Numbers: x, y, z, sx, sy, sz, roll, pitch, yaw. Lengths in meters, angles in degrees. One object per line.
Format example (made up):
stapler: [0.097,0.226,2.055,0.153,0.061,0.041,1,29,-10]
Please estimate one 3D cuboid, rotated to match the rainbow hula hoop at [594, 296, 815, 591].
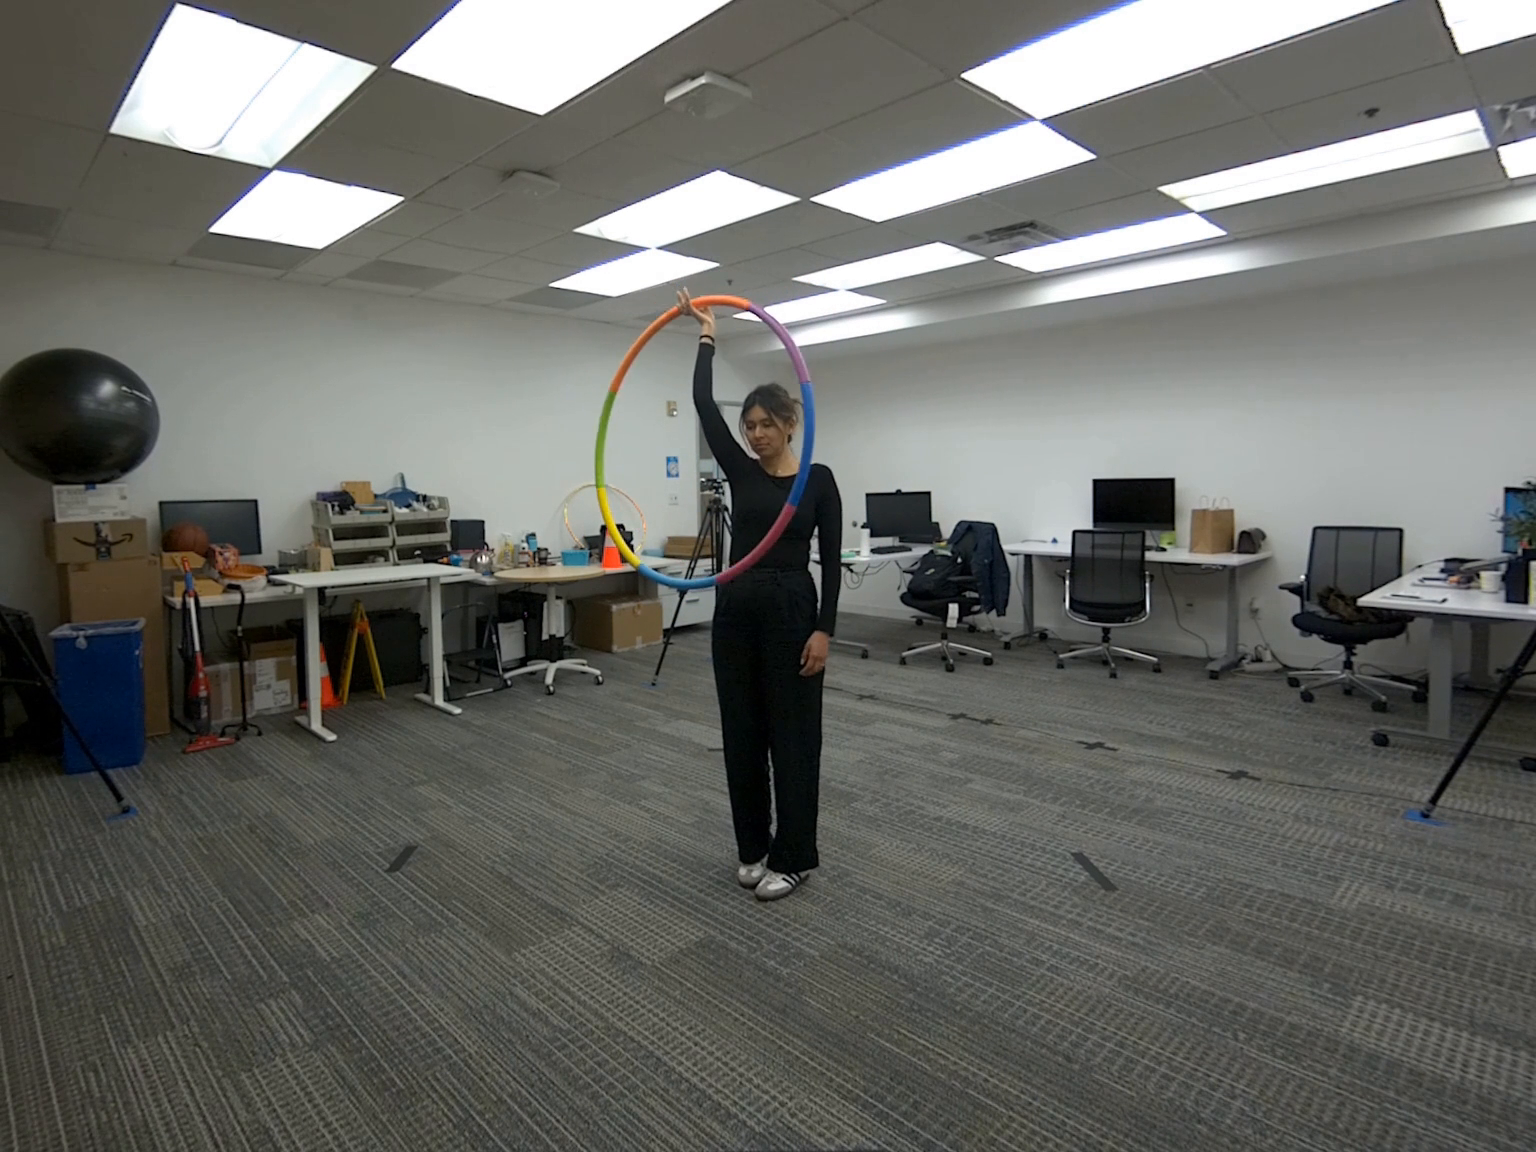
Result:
rainbow hula hoop: [-0.243,-0.462,2.882,1.015,0.987,0.050,3,-3,39]
